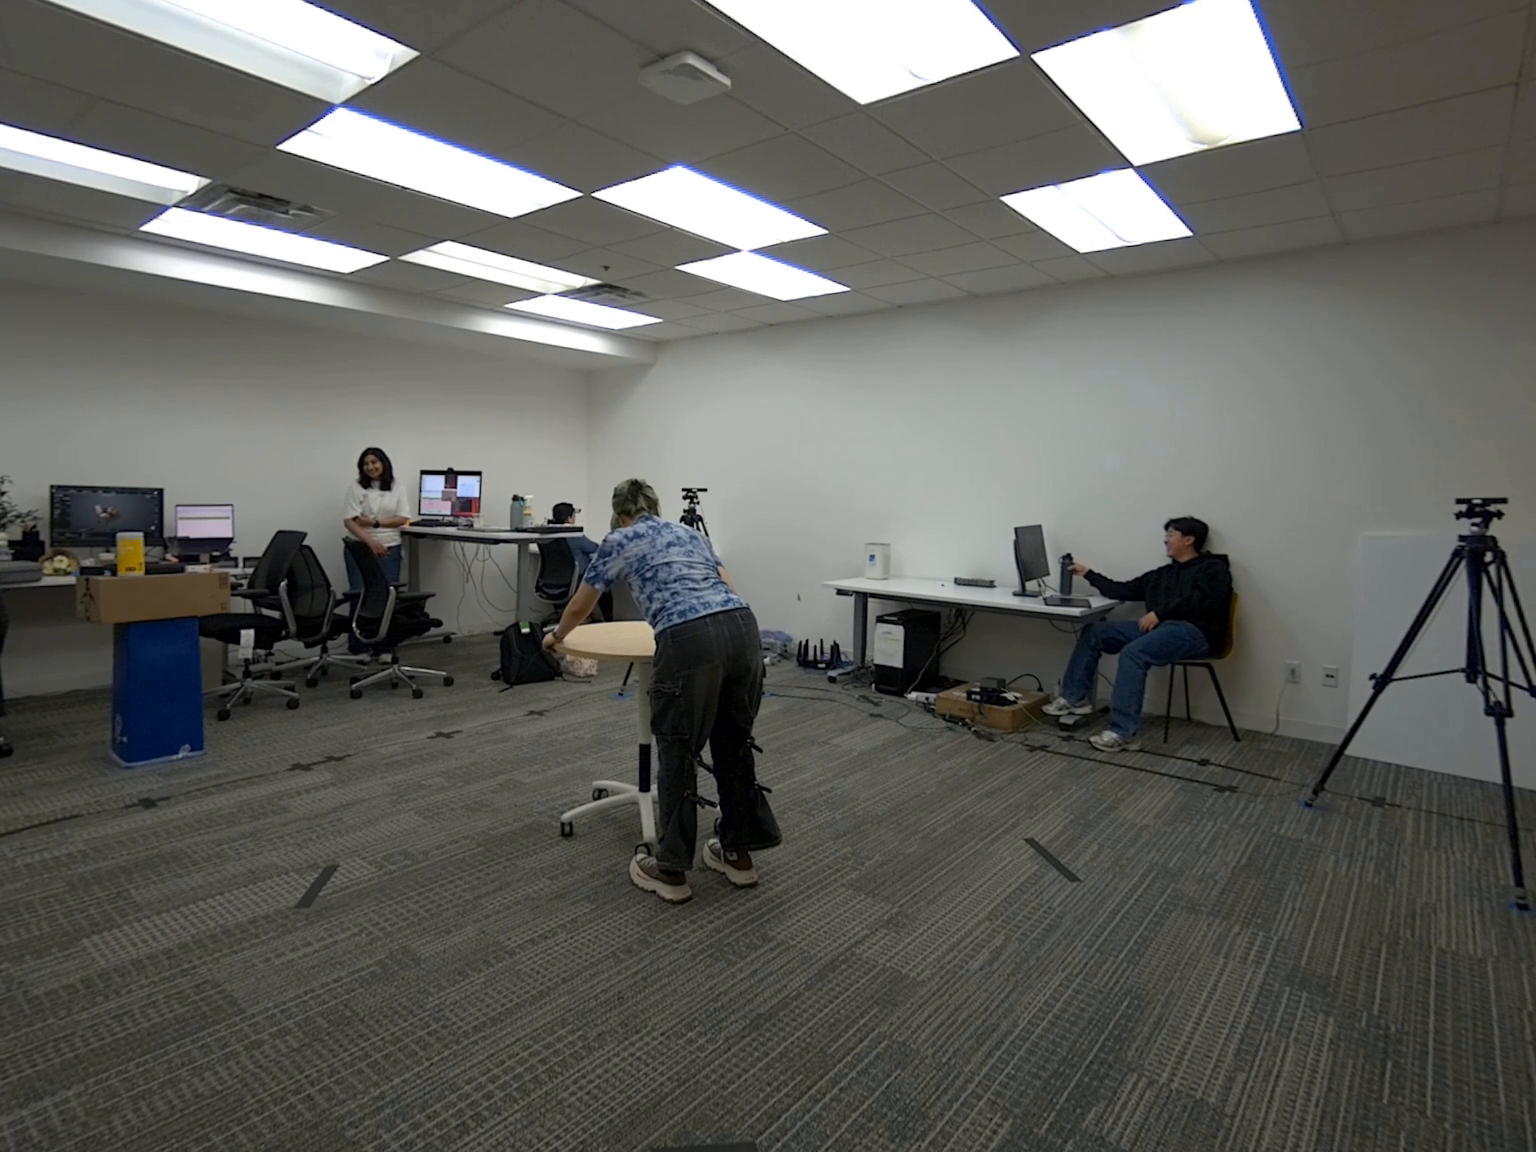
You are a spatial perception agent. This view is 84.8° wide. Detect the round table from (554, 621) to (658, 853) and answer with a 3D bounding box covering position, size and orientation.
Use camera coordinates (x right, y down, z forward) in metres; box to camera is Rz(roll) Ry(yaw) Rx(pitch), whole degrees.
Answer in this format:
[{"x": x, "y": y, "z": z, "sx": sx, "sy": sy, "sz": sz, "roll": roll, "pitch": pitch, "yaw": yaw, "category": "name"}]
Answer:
[{"x": -0.520, "y": 0.640, "z": 3.504, "sx": 0.763, "sy": 0.791, "sz": 0.768, "roll": 1, "pitch": 4, "yaw": -2, "category": "round table"}]
